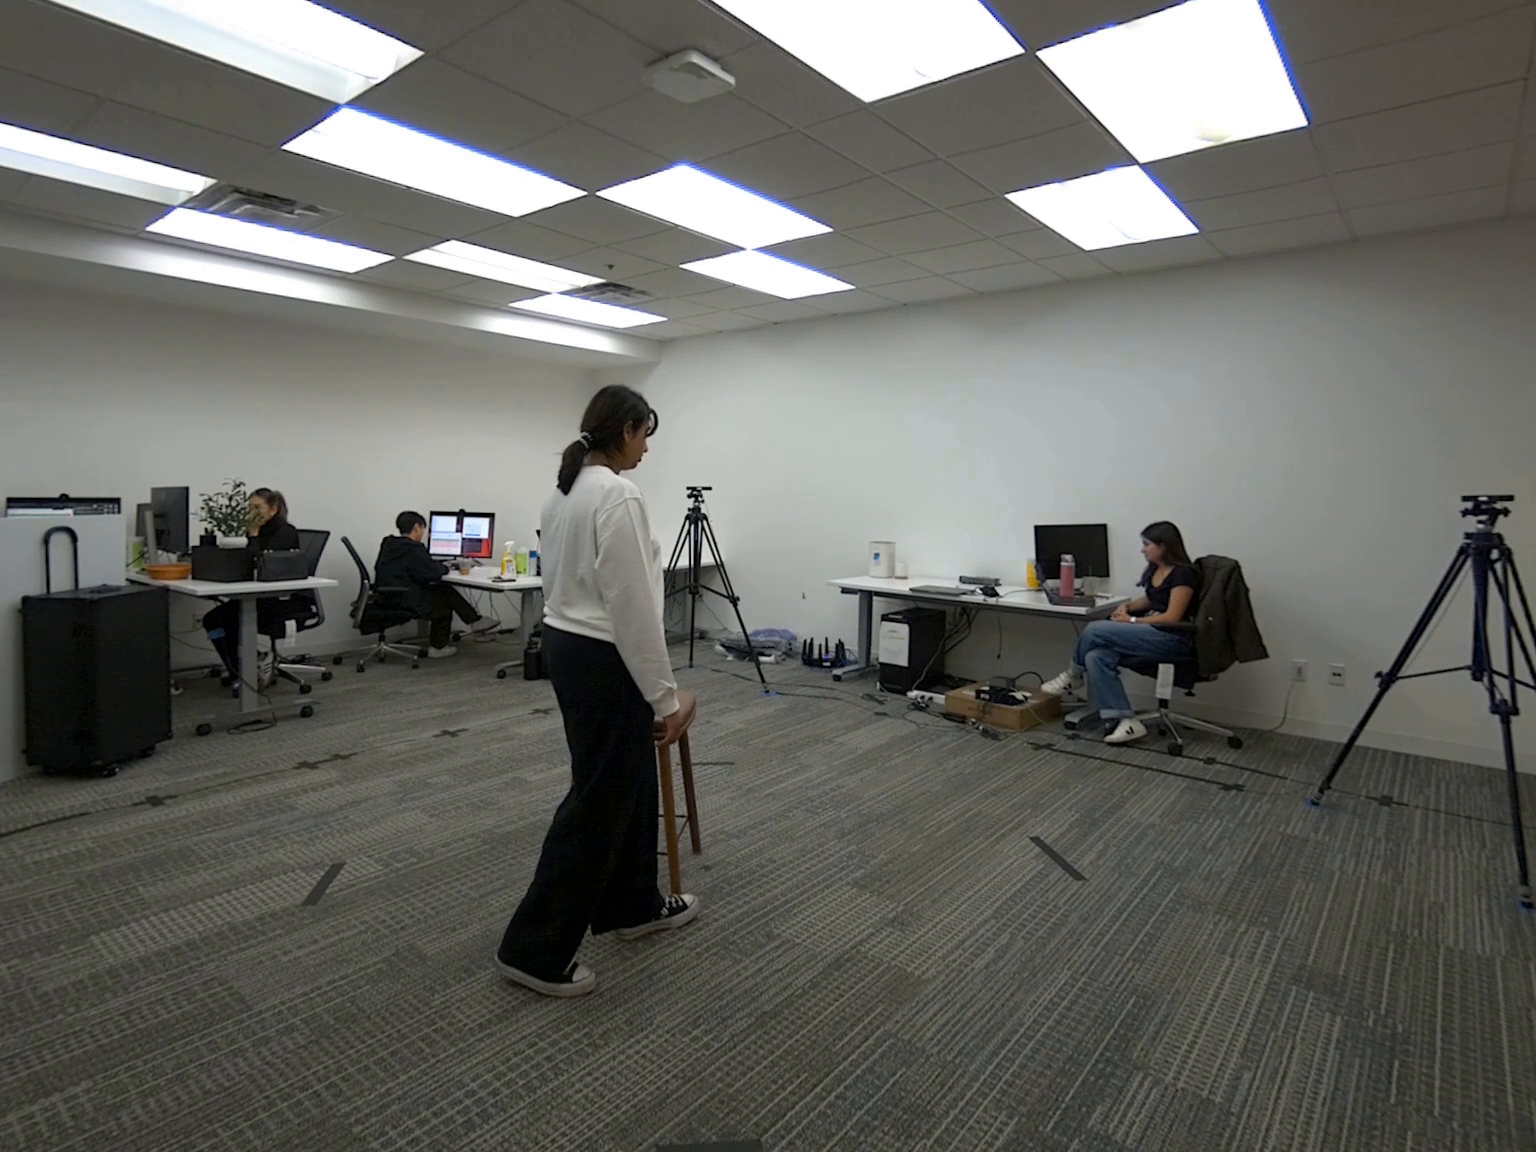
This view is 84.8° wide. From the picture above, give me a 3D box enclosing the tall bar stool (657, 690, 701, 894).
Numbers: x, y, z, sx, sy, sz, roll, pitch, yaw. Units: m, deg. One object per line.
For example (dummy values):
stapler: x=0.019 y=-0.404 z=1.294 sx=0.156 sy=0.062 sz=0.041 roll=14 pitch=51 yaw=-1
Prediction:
tall bar stool: x=-0.494 y=0.631 z=3.064 sx=0.473 sy=0.887 sz=0.453 roll=0 pitch=3 yaw=9
